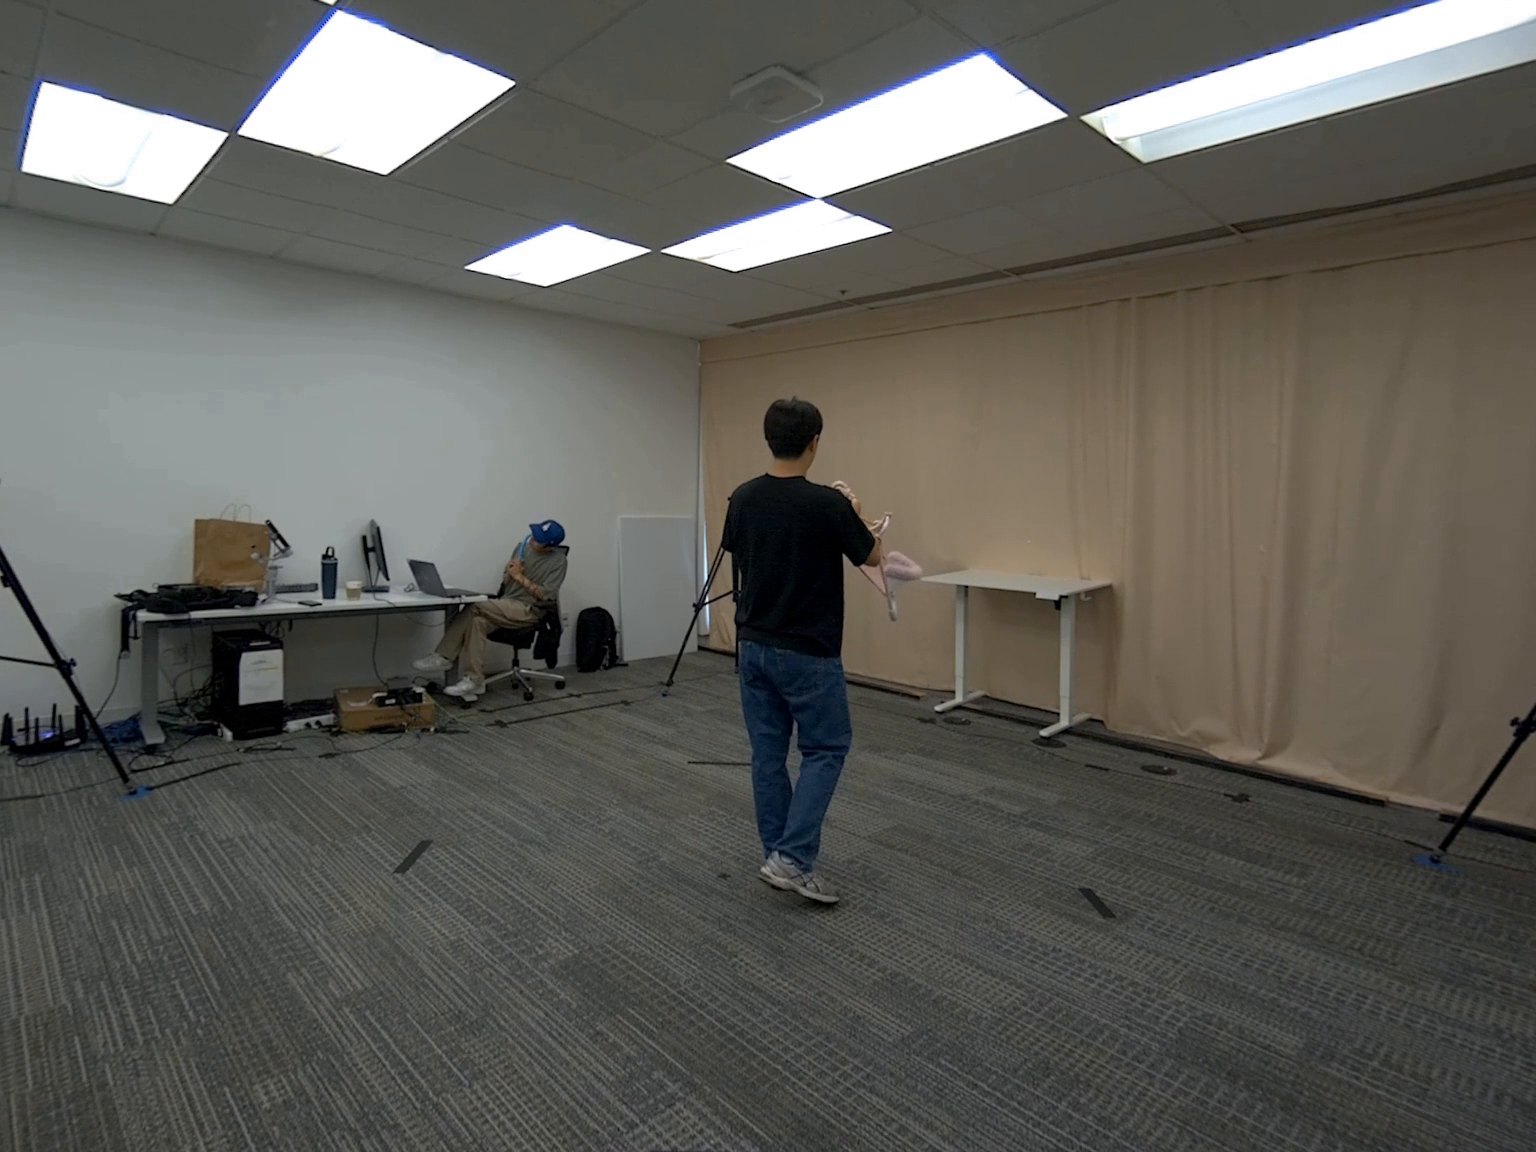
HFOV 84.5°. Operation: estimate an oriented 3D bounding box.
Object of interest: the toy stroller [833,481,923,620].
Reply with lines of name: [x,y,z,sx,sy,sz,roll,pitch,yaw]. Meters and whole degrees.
toy stroller: [0.400,-0.109,3.421,0.536,0.340,0.281,36,16,1]
